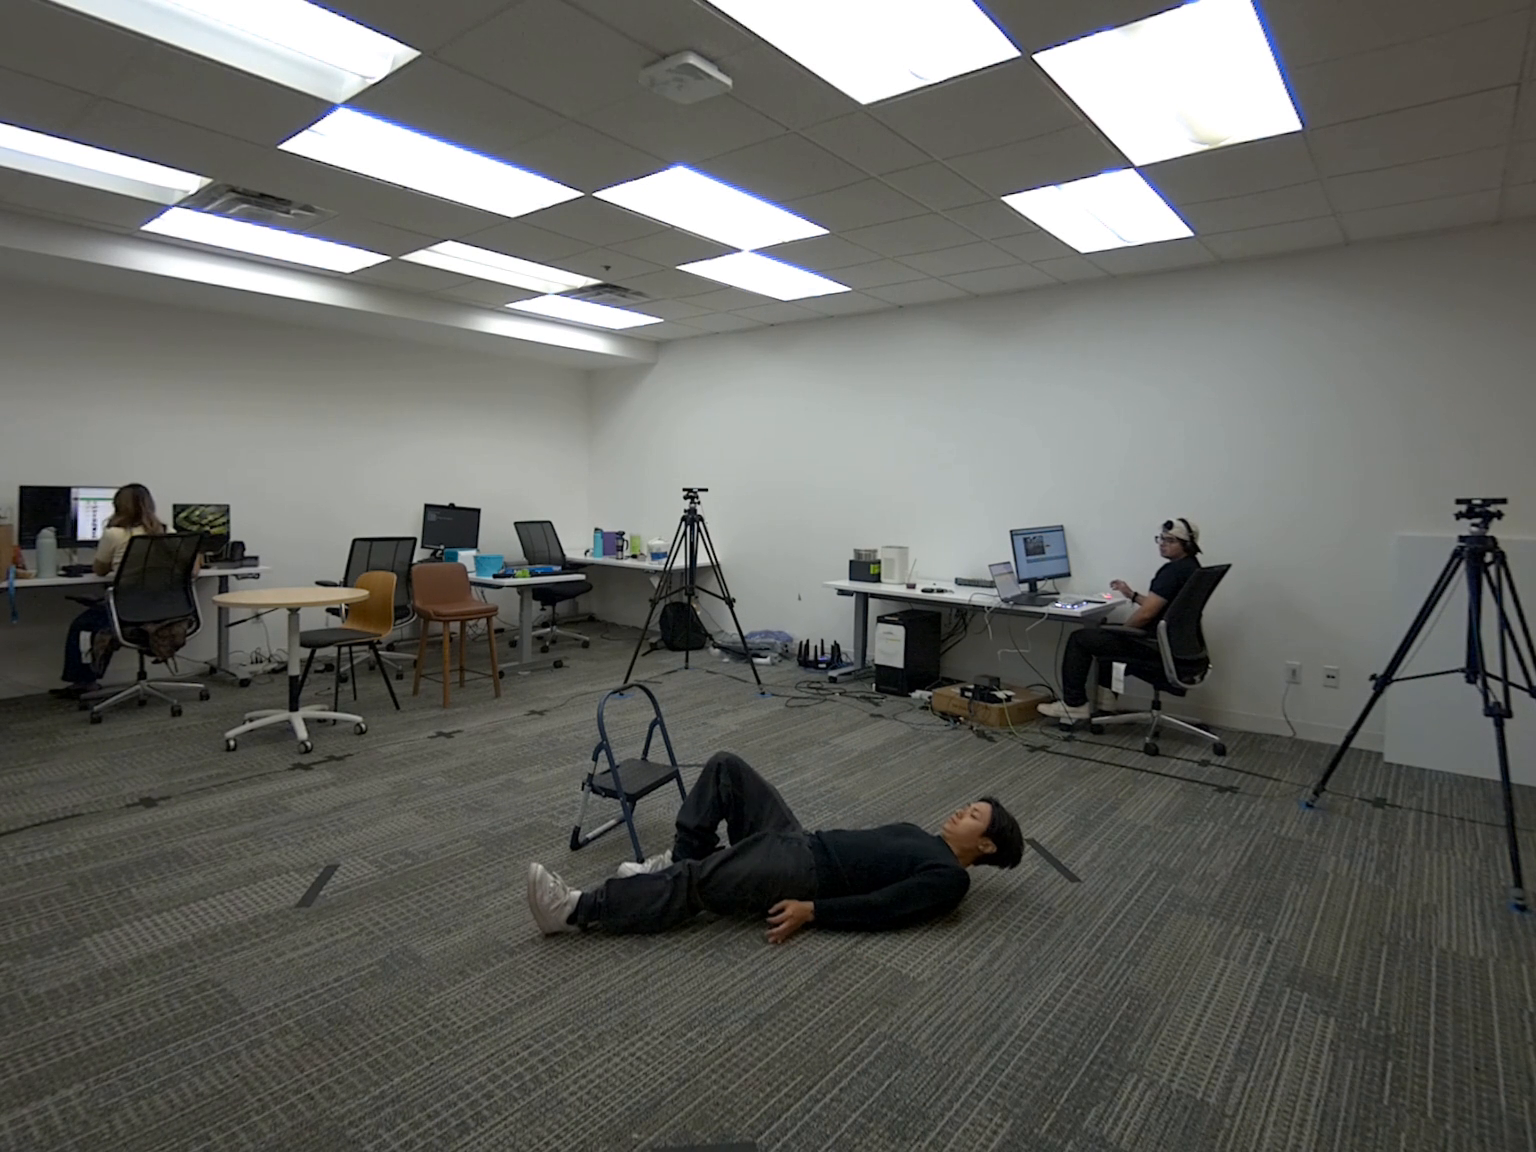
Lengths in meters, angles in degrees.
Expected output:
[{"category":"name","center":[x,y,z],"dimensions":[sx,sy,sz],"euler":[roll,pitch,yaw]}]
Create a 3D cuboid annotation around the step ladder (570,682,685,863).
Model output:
[{"category":"step ladder","center":[-0.525,0.737,3.343],"dimensions":[0.358,0.604,0.421],"euler":[3,4,25]}]
